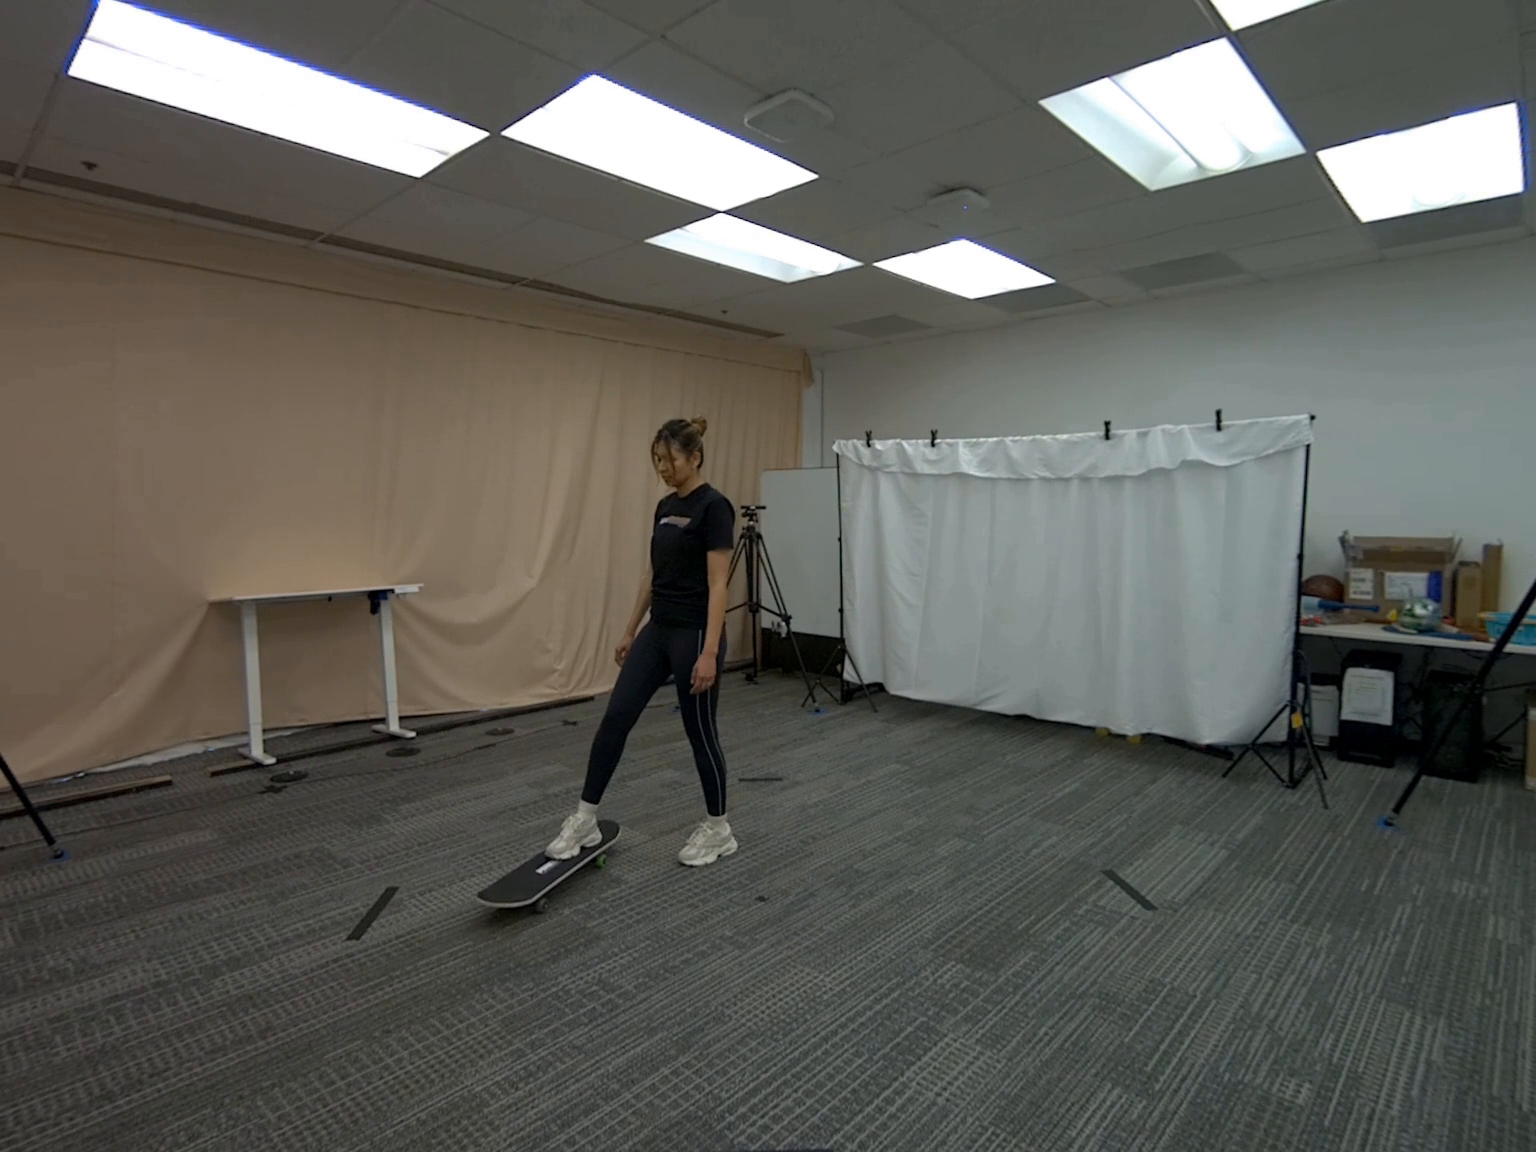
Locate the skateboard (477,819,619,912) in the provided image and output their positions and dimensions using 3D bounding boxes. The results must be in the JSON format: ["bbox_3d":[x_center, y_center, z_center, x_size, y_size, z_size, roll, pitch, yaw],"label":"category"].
[{"bbox_3d":[-0.786,1.086,3.106,0.198,0.110,0.769,2,5,21],"label":"skateboard"}]
